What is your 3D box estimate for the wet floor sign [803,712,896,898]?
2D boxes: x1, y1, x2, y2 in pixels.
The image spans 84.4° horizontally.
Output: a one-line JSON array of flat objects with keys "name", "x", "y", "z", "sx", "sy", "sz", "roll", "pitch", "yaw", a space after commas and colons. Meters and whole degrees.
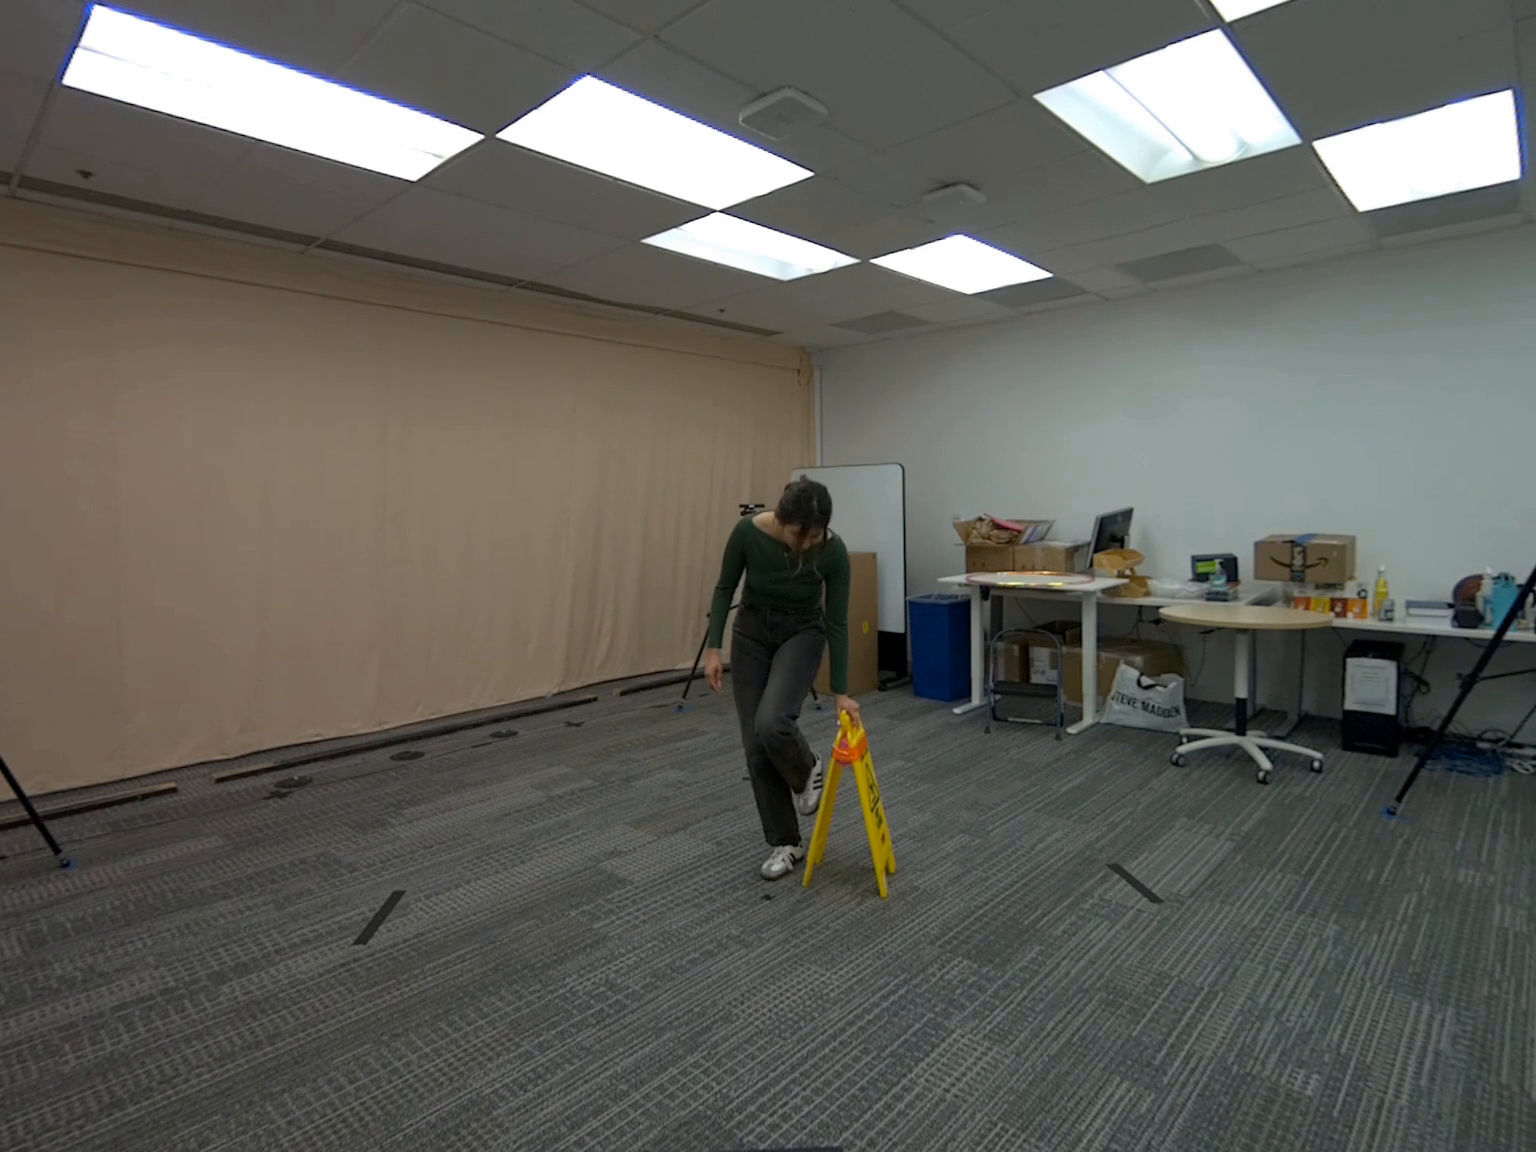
[{"name": "wet floor sign", "x": 0.304, "y": 0.799, "z": 3.113, "sx": 0.295, "sy": 0.645, "sz": 0.277, "roll": 0, "pitch": 3, "yaw": 18}]
